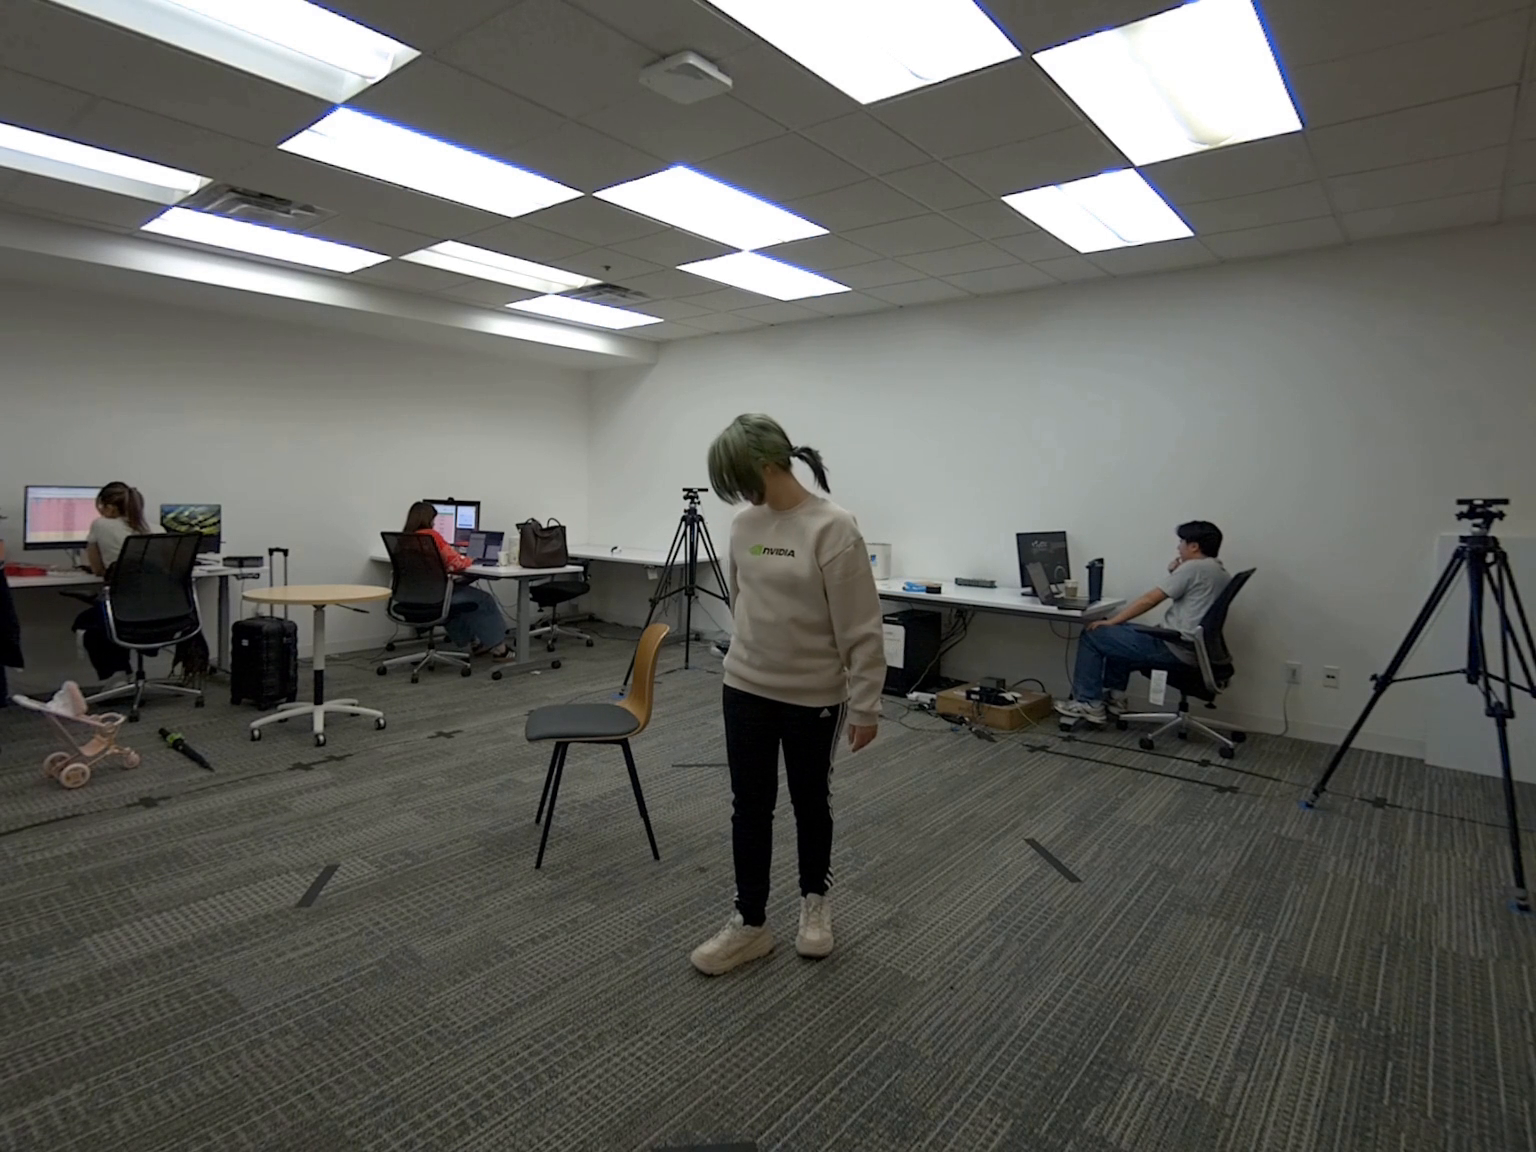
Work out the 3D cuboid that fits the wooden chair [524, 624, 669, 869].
[{"bbox_3d":[-0.693,0.614,3.310,0.514,0.876,0.487,4,2,-16],"label":"wooden chair"}]
